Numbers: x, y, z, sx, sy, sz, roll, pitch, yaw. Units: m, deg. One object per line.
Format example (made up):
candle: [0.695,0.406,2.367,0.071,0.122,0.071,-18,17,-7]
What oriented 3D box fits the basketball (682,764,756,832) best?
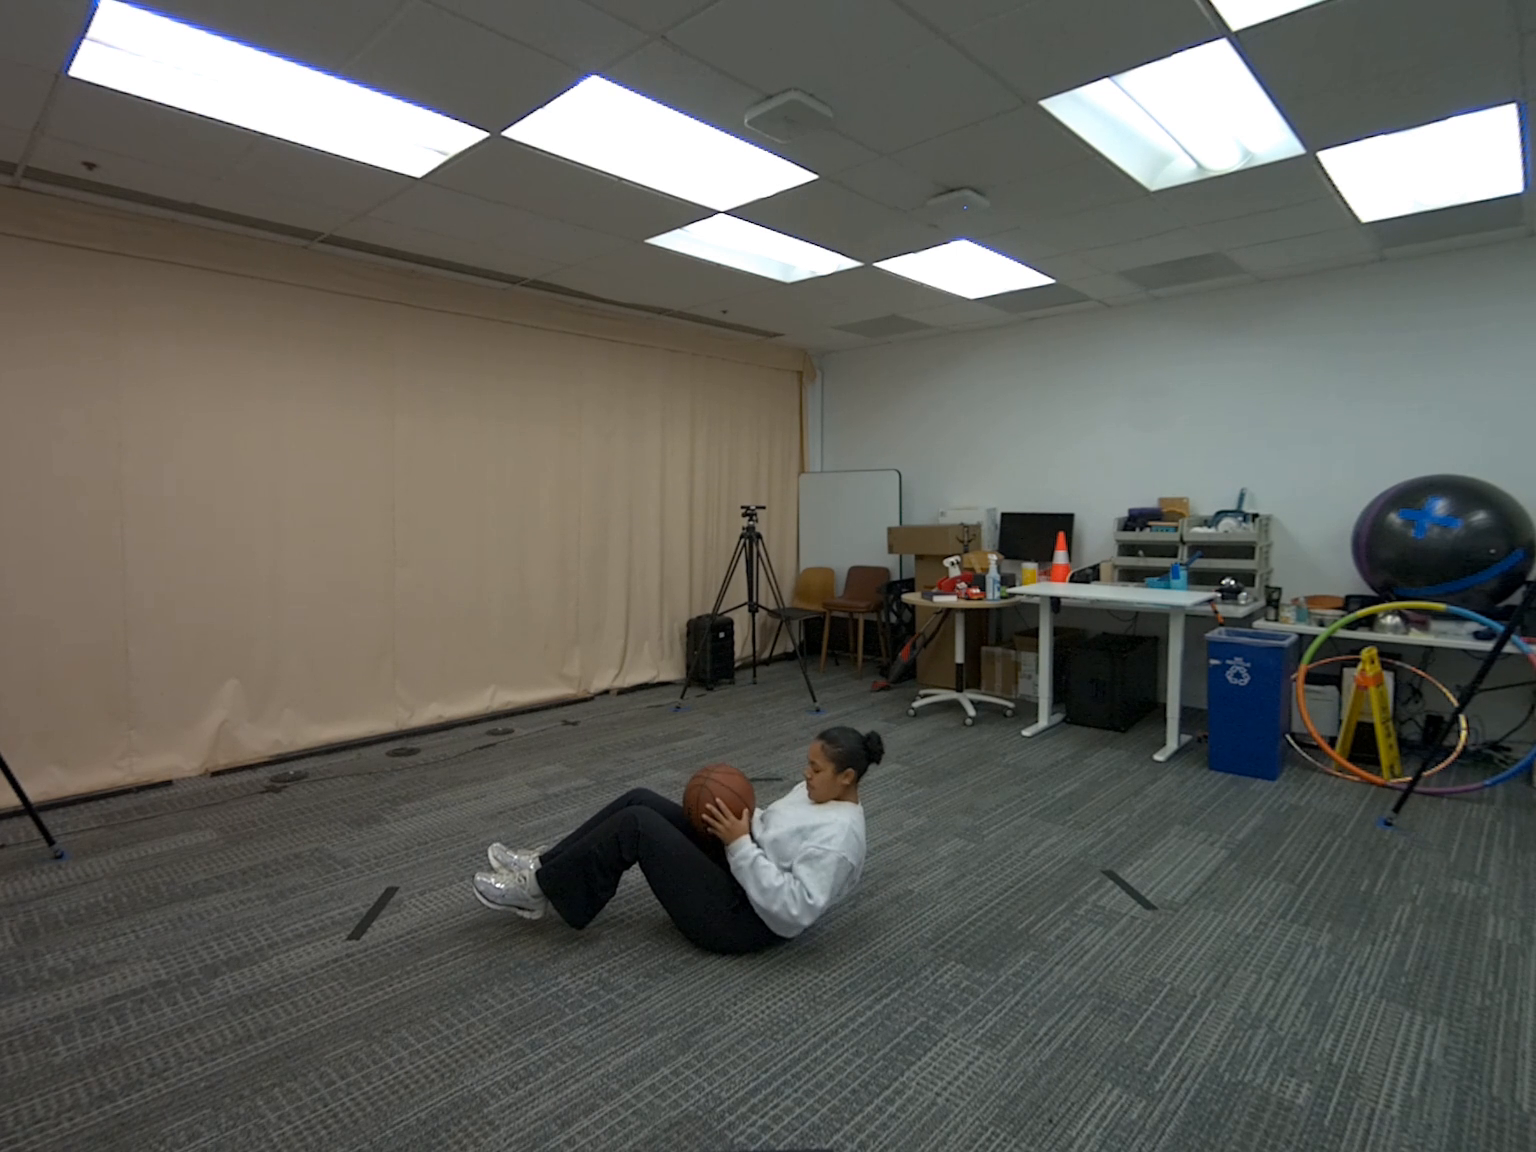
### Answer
basketball: [-0.142,0.749,2.748,0.236,0.235,0.237,0,4,-2]
